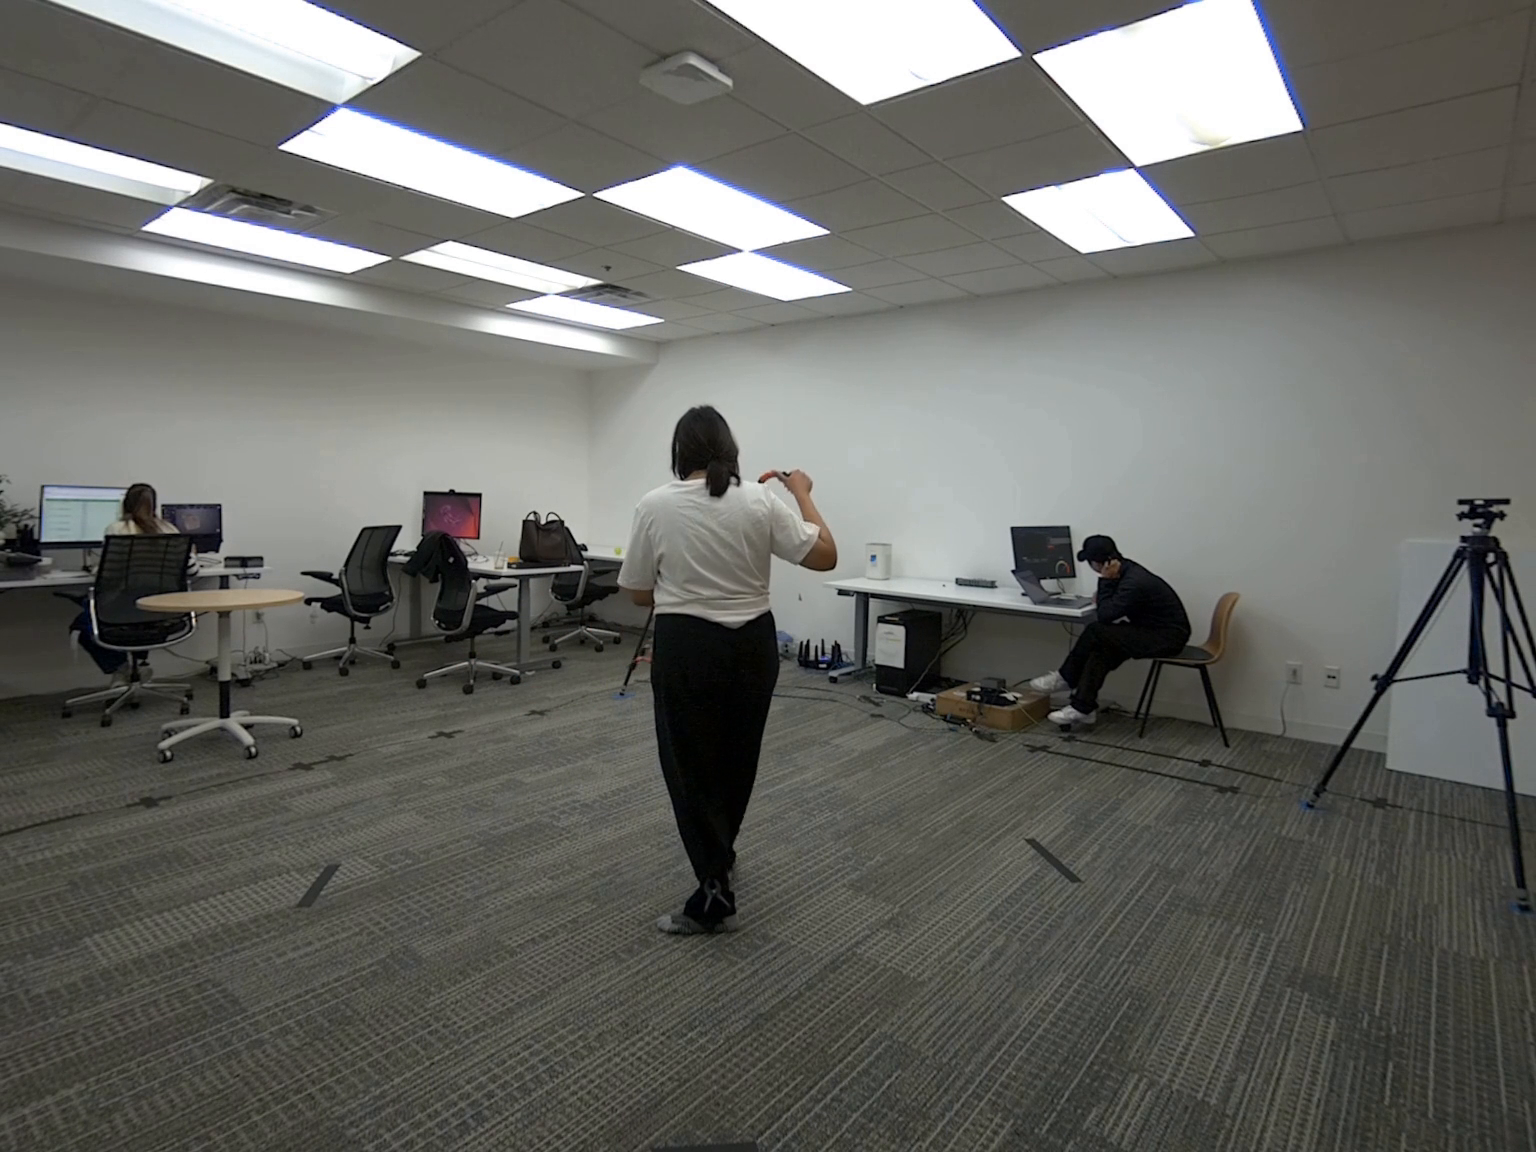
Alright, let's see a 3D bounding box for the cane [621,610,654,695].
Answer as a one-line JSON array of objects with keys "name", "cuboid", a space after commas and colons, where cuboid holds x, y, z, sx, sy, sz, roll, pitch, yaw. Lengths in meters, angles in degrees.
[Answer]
[{"name": "cane", "cuboid": [-0.193, 0.020, 2.979, 0.205, 0.904, 0.153, 32, 17, -5]}]
